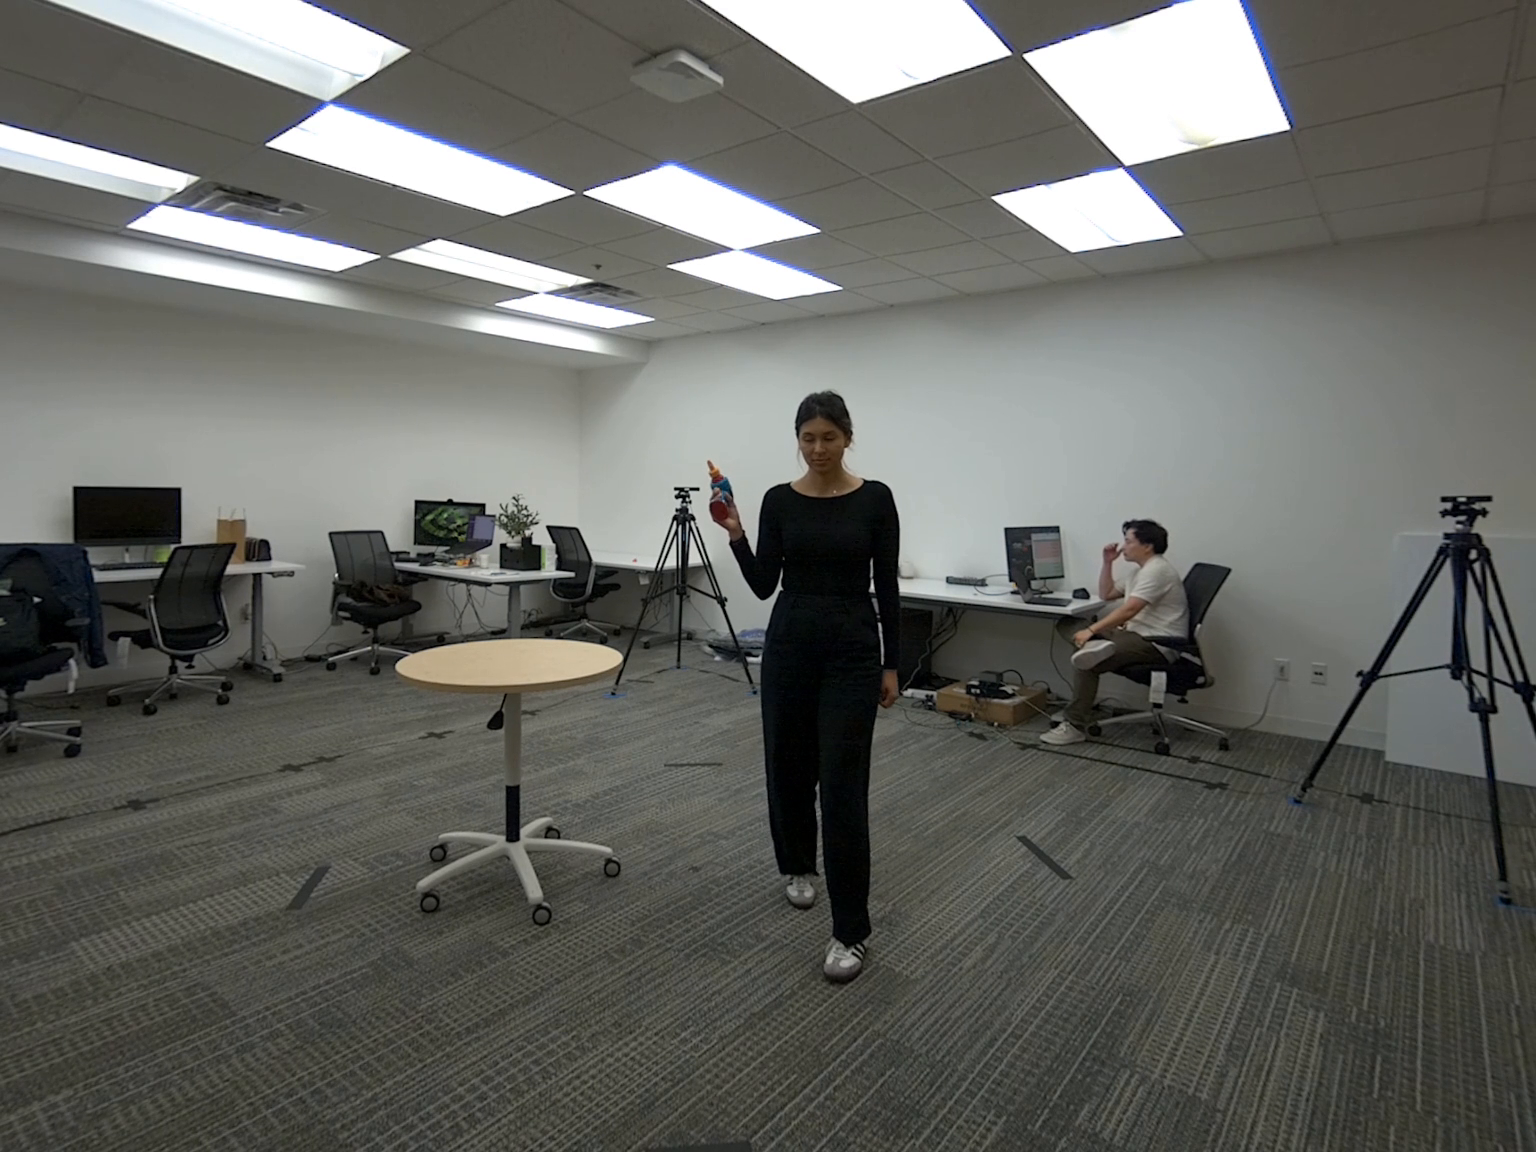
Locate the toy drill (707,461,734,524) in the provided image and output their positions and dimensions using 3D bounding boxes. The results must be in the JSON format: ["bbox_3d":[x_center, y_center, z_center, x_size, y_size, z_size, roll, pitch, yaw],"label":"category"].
[{"bbox_3d":[-0.159,-0.275,2.633,0.062,0.165,0.149,-14,28,13],"label":"toy drill"}]
